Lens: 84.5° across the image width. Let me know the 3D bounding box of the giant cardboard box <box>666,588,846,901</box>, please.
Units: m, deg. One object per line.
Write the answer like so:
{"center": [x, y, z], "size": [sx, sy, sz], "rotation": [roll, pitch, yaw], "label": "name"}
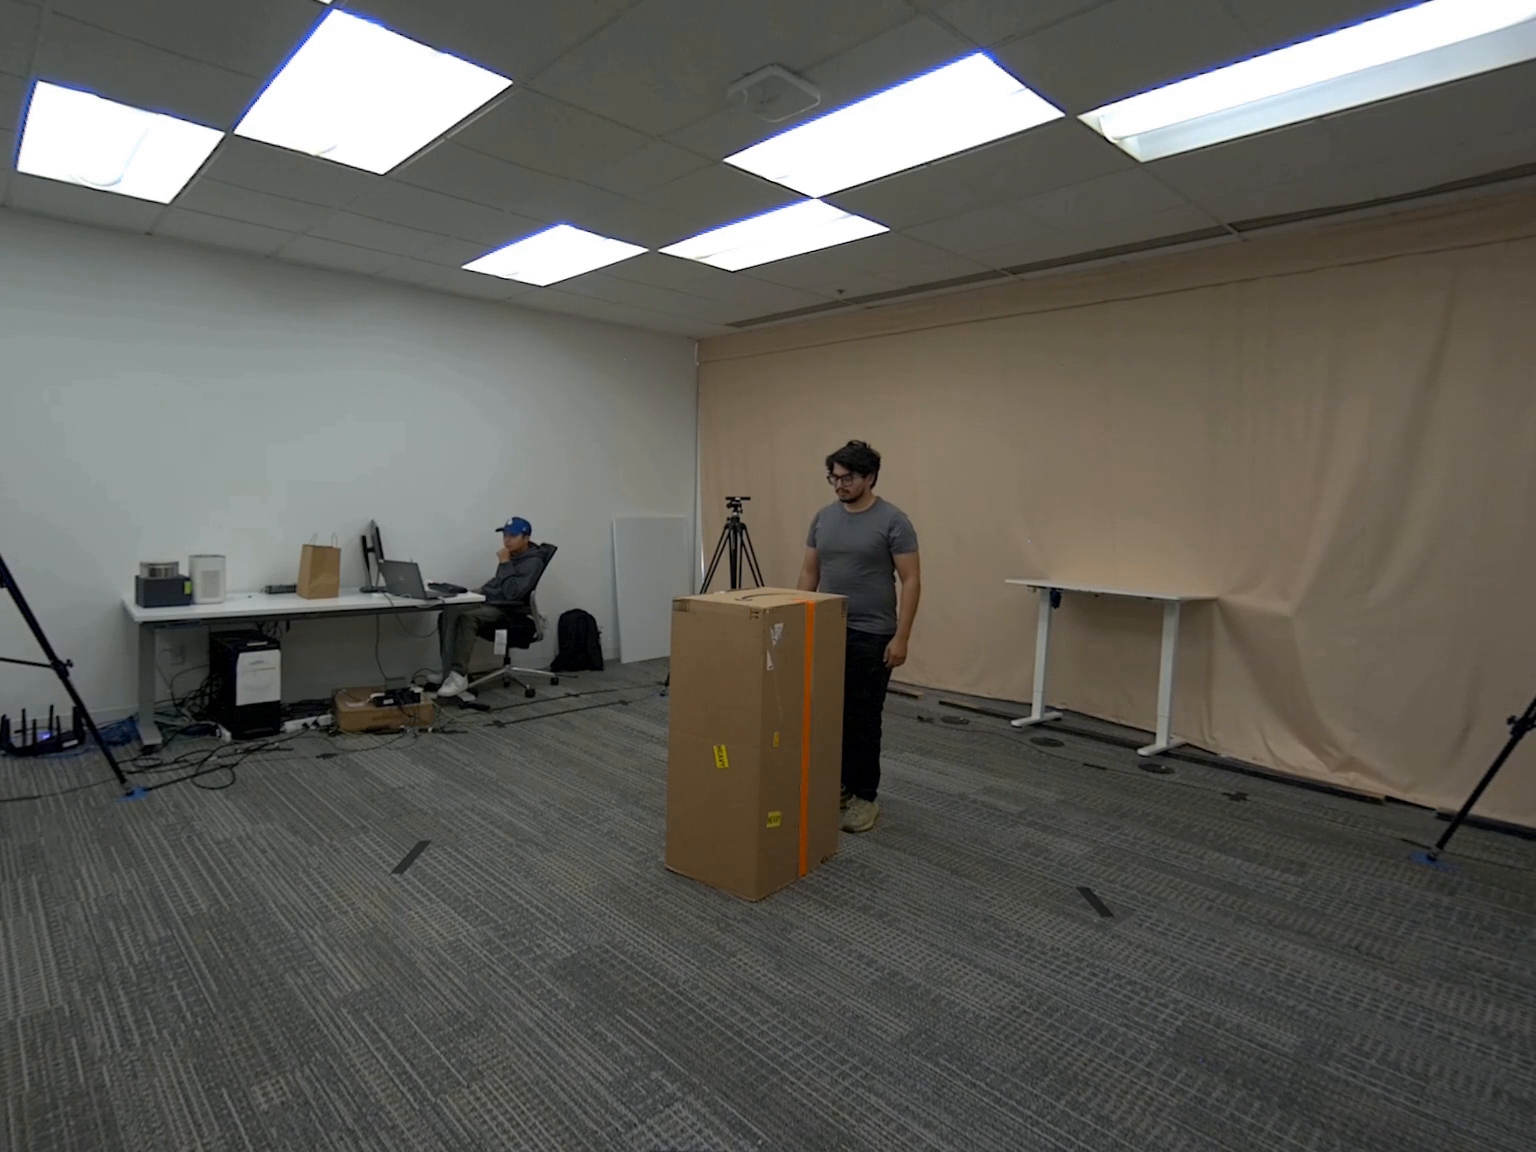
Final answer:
{"center": [-0.042, 0.594, 3.223], "size": [0.457, 1.025, 0.571], "rotation": [3, 3, 35], "label": "giant cardboard box"}
